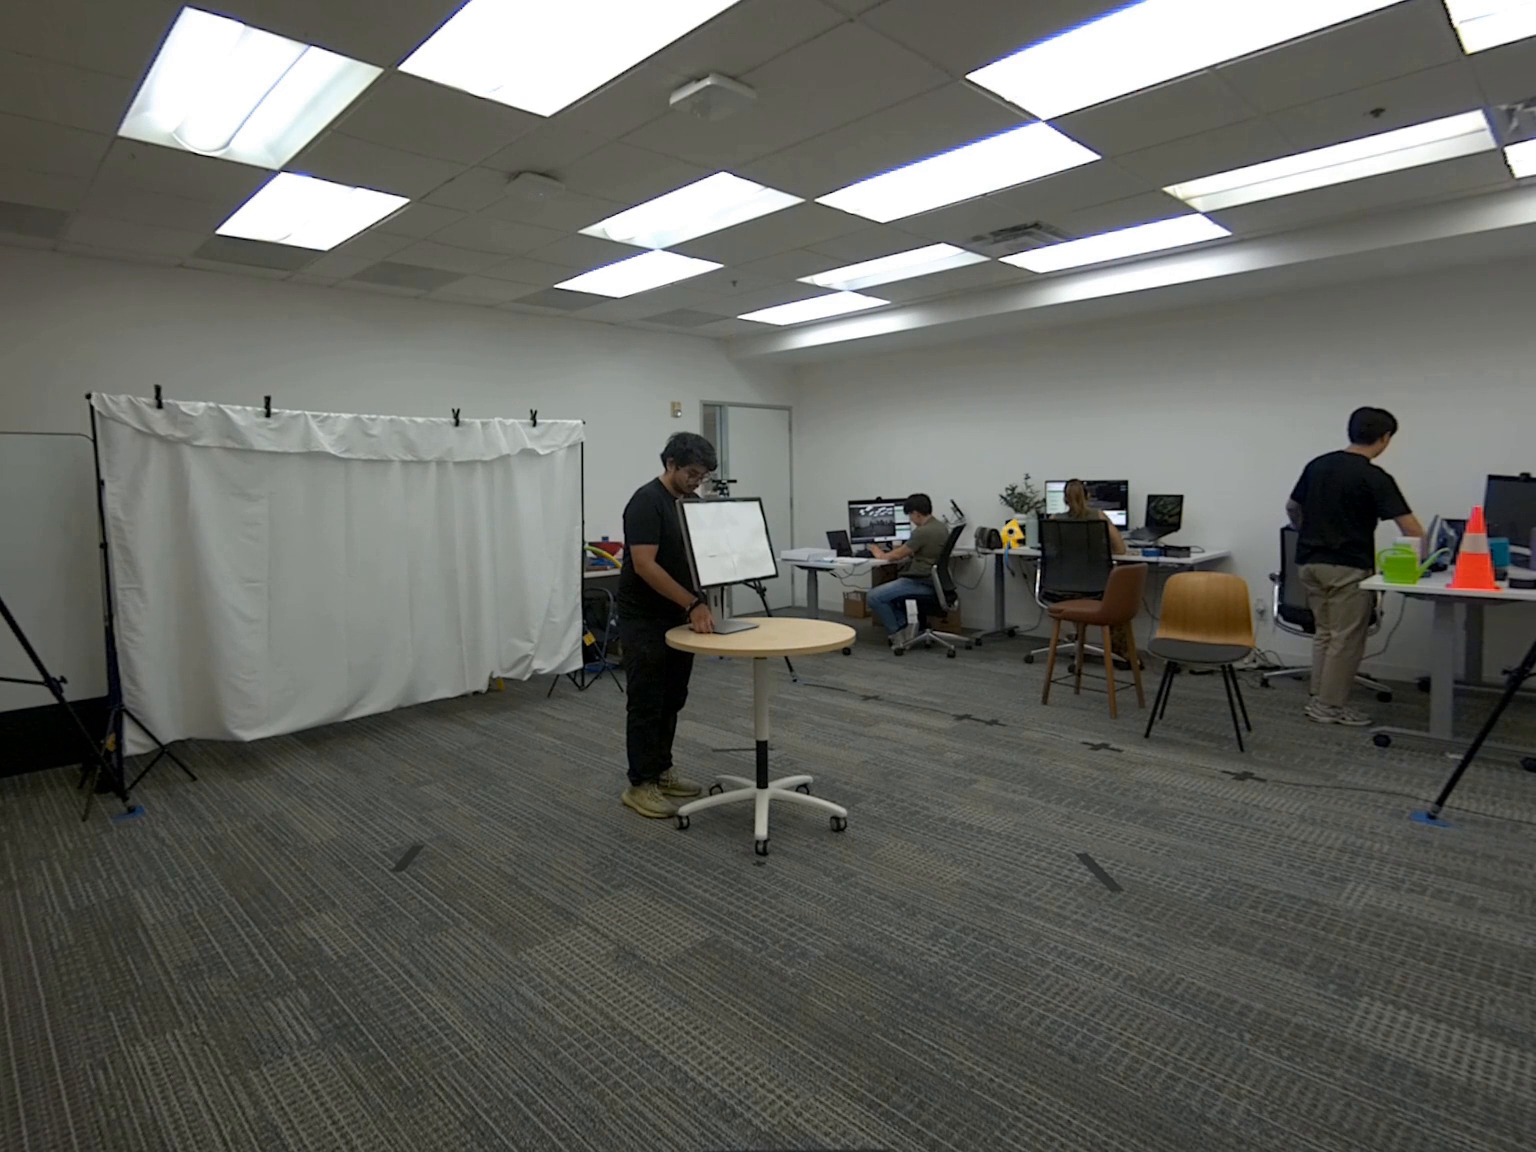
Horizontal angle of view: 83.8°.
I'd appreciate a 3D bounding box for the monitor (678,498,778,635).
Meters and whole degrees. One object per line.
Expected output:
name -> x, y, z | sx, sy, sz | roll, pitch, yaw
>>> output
monitor -> -0.209, -0.047, 3.564 | 0.215, 0.555, 0.551 | -8, 0, 35
